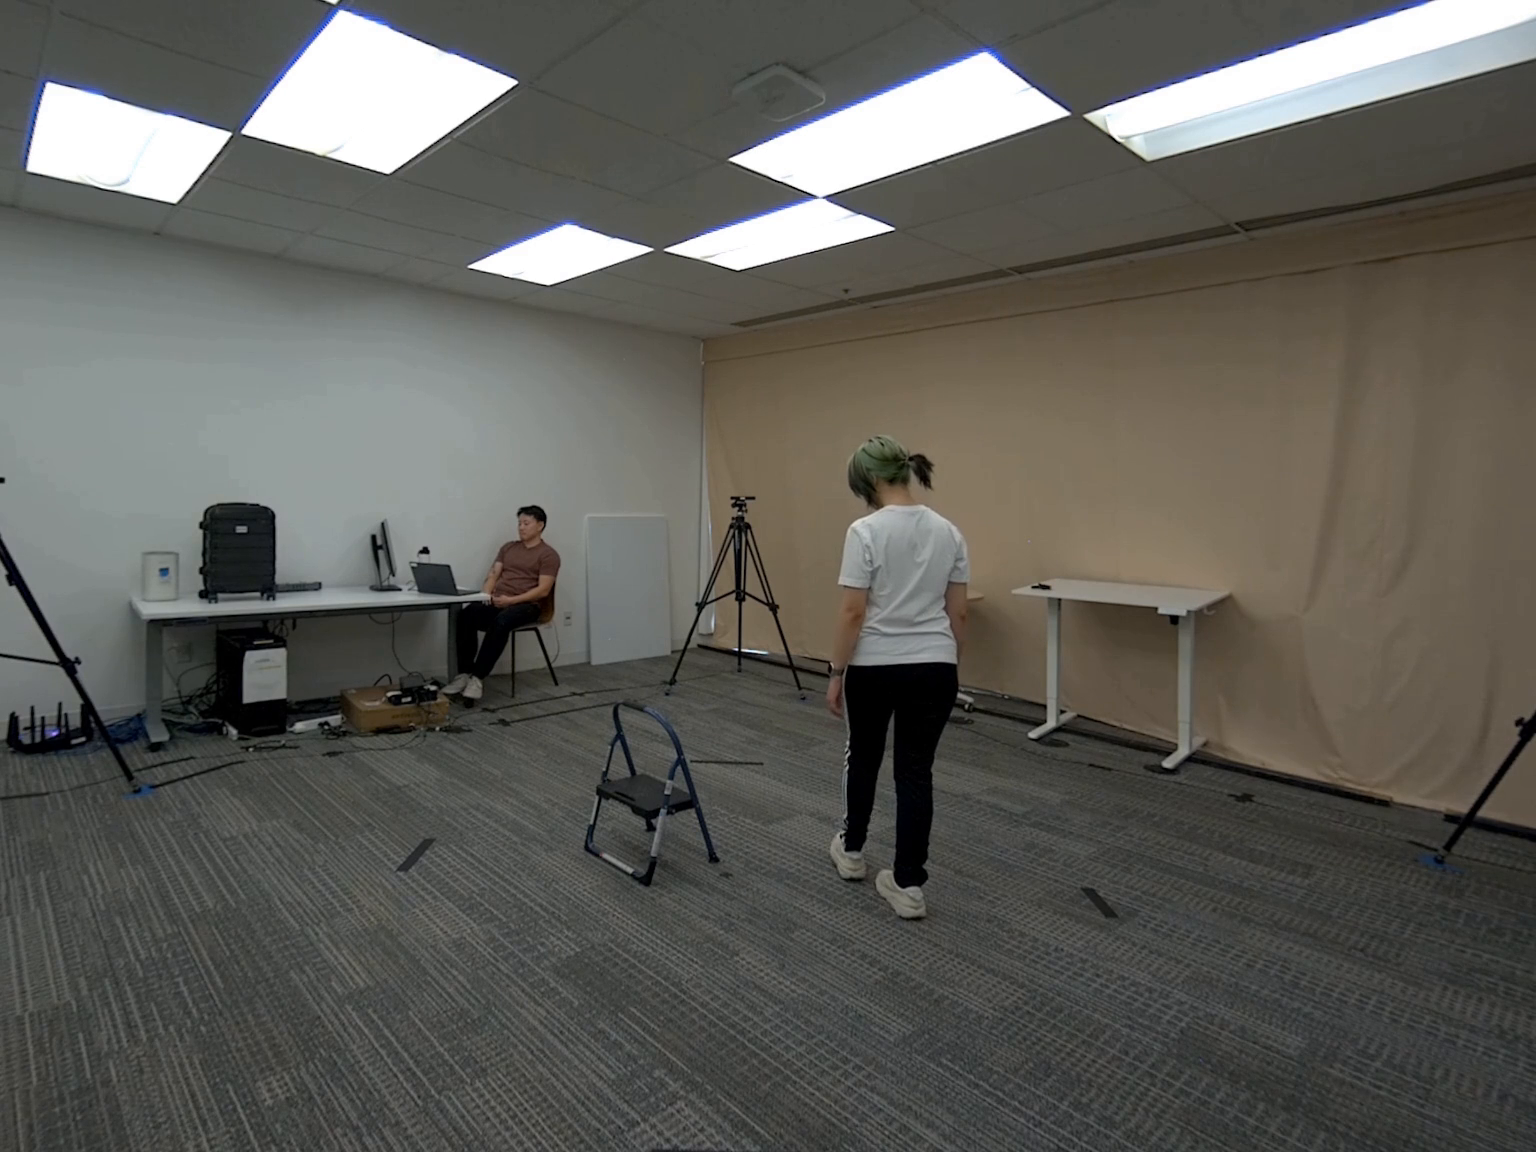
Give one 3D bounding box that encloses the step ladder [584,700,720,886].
[{"bbox_3d":[-0.453,0.780,3.248,0.341,0.605,0.441,-1,4,-45],"label":"step ladder"}]
